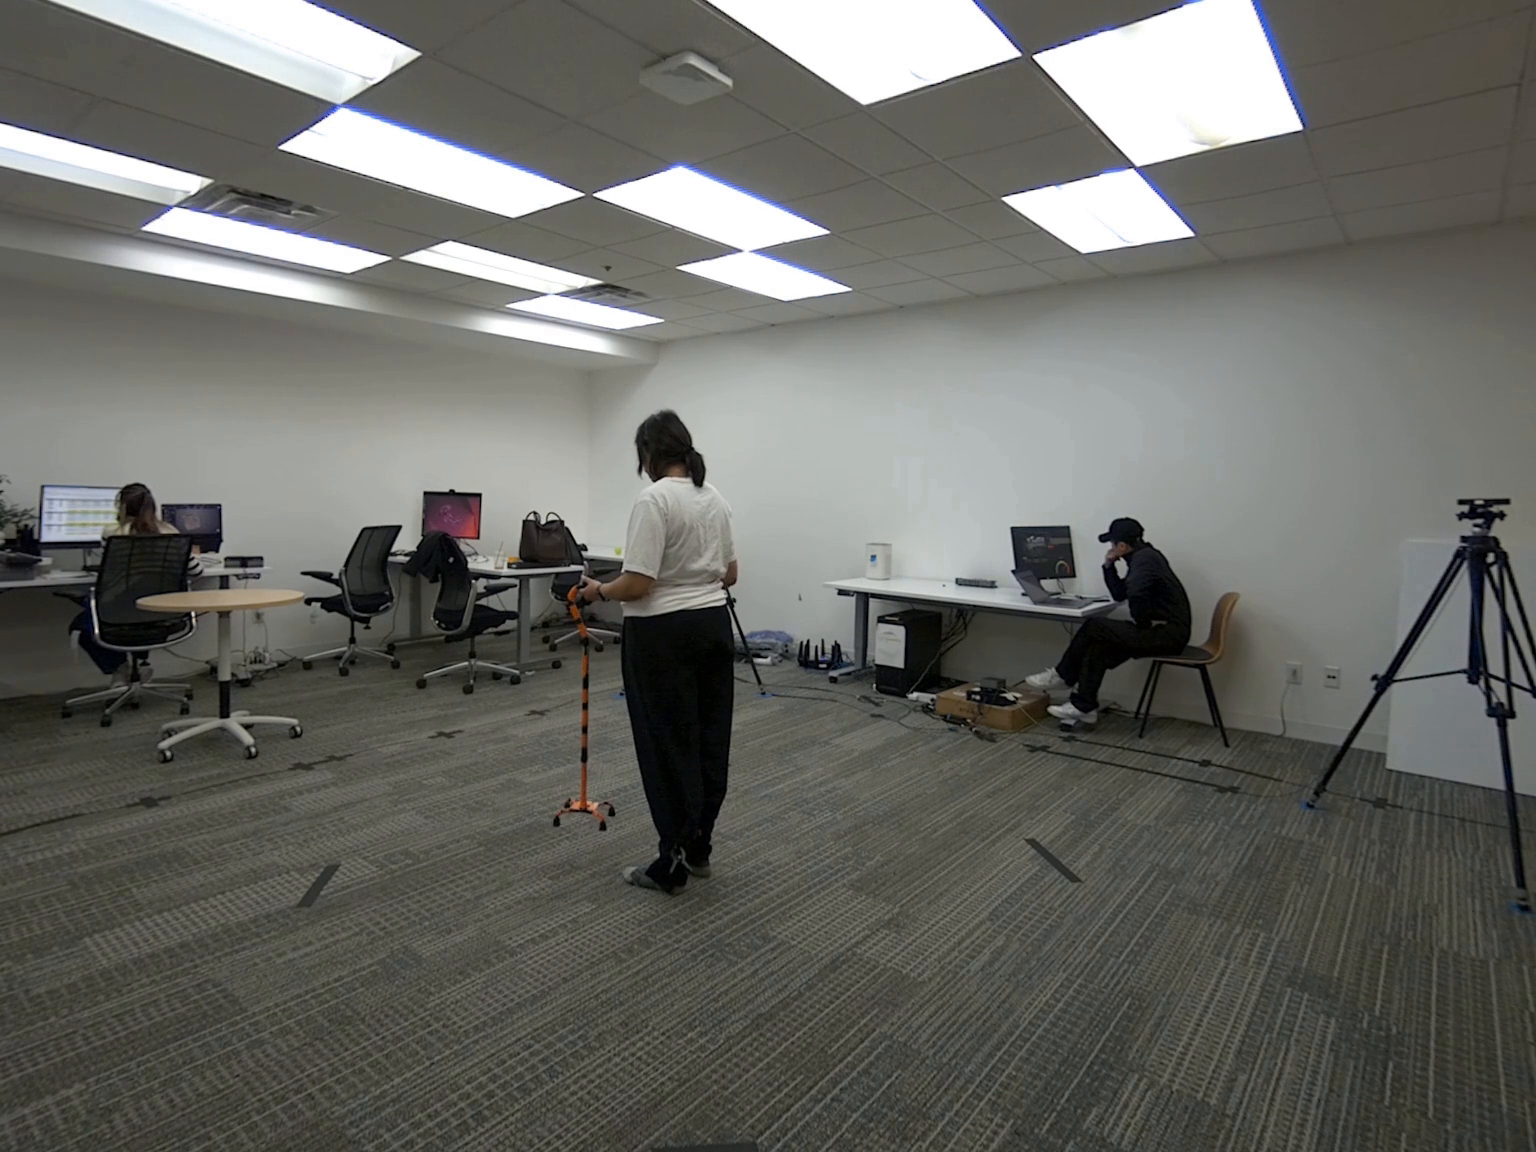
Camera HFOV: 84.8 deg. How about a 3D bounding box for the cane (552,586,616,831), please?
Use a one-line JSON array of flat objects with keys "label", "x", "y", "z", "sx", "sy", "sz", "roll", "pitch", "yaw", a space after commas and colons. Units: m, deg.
[{"label": "cane", "x": -0.696, "y": 0.482, "z": 3.142, "sx": 0.207, "sy": 0.901, "sz": 0.152, "roll": 1, "pitch": 8, "yaw": 4}]
